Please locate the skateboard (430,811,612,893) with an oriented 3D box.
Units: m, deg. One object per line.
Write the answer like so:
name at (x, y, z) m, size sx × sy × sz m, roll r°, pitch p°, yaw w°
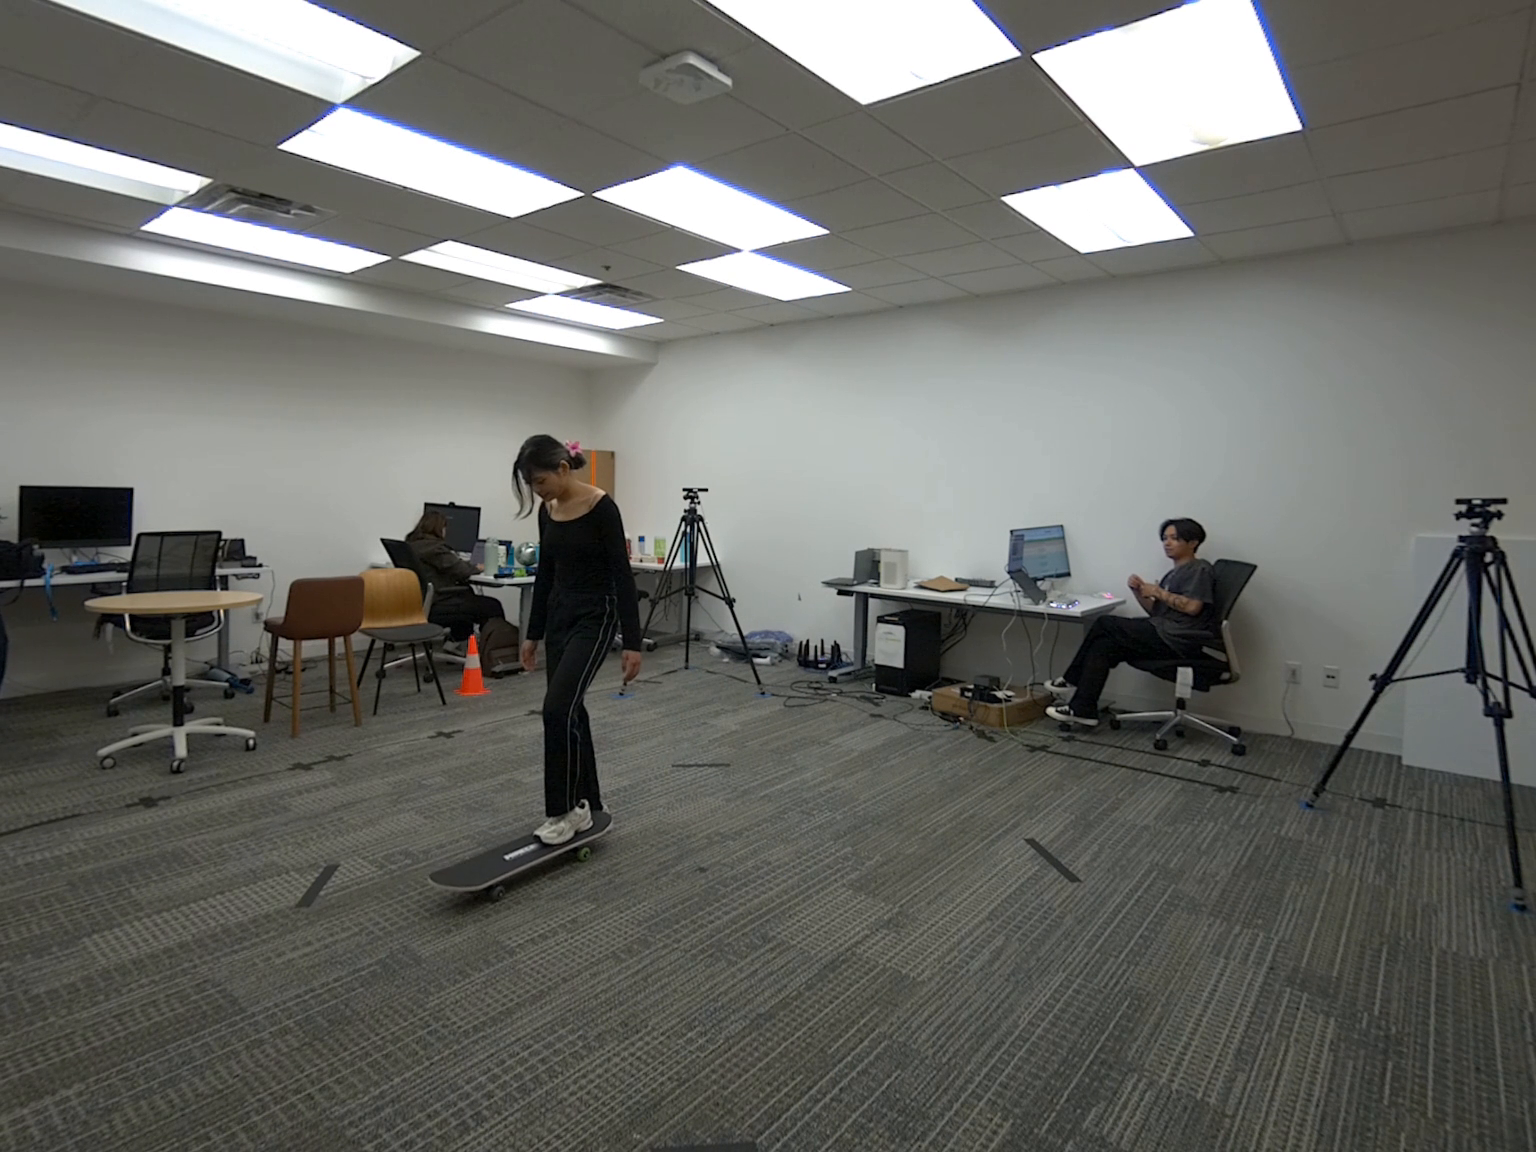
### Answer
skateboard at (-0.873, 1.015, 3.050) m, size 0.200 × 0.110 × 0.763 m, roll 4°, pitch 6°, yaw 35°
